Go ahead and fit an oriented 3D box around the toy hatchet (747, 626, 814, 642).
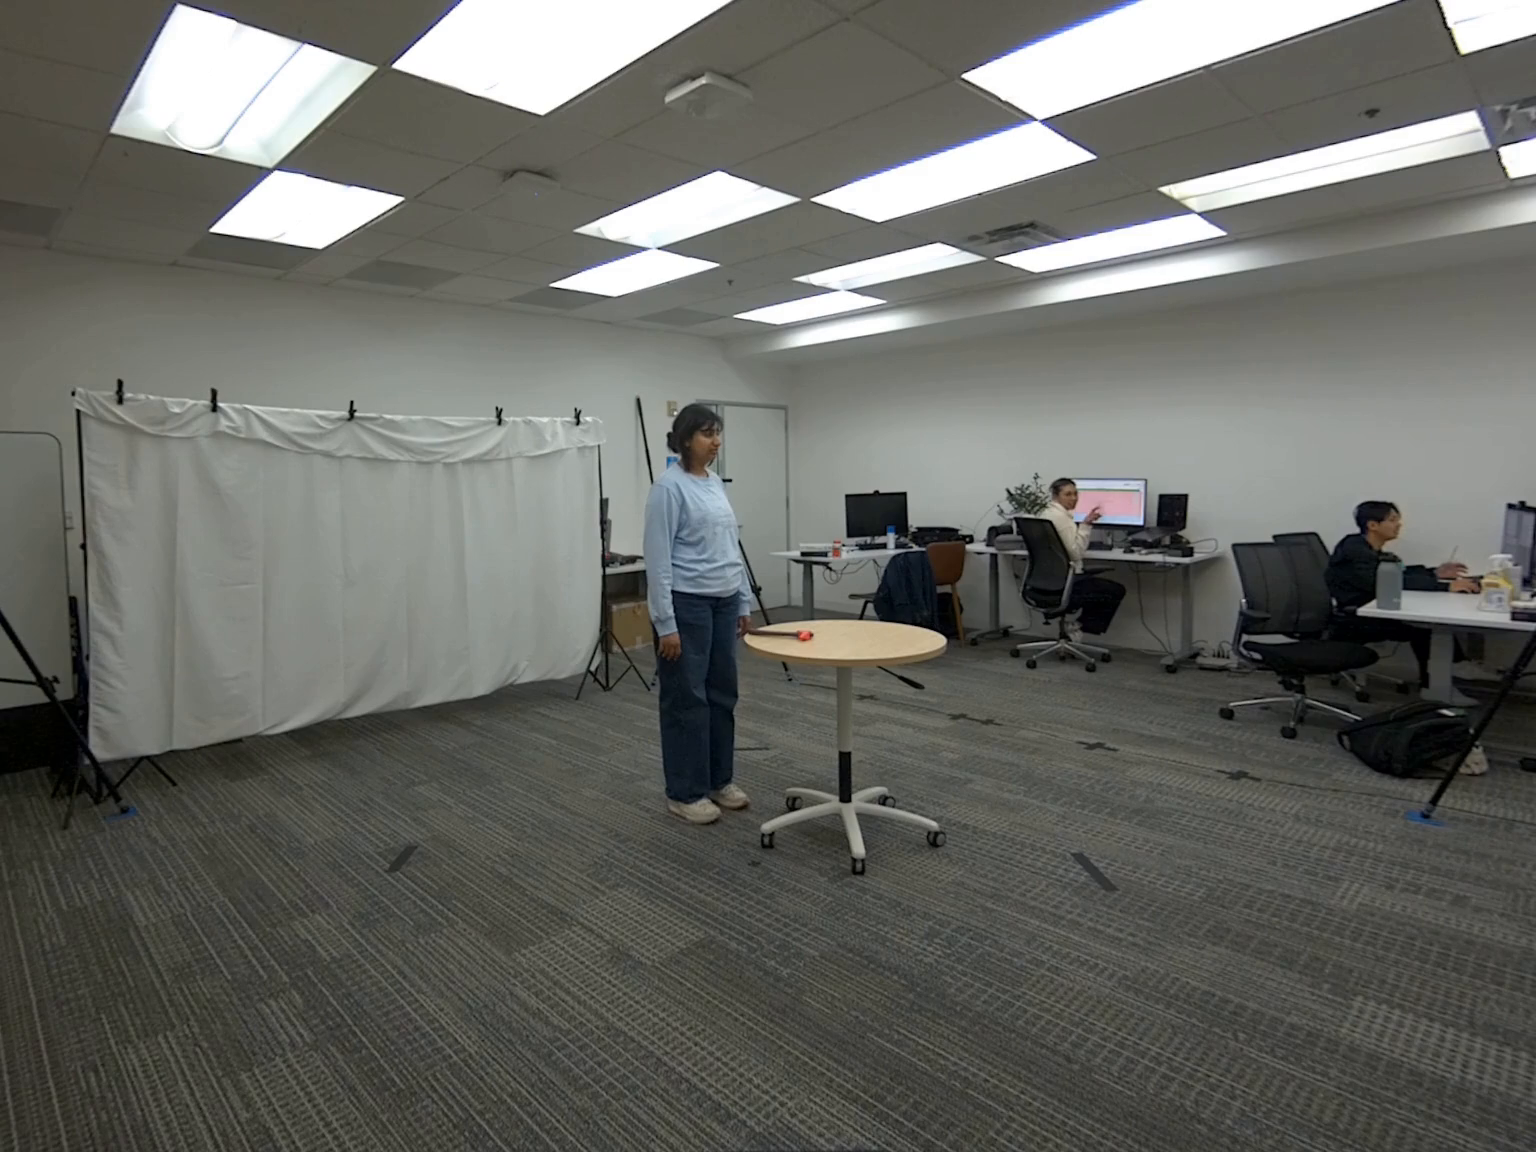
[{"bbox_3d":[0.067,0.220,3.319,0.278,0.029,0.128,4,8,37],"label":"toy hatchet"}]
